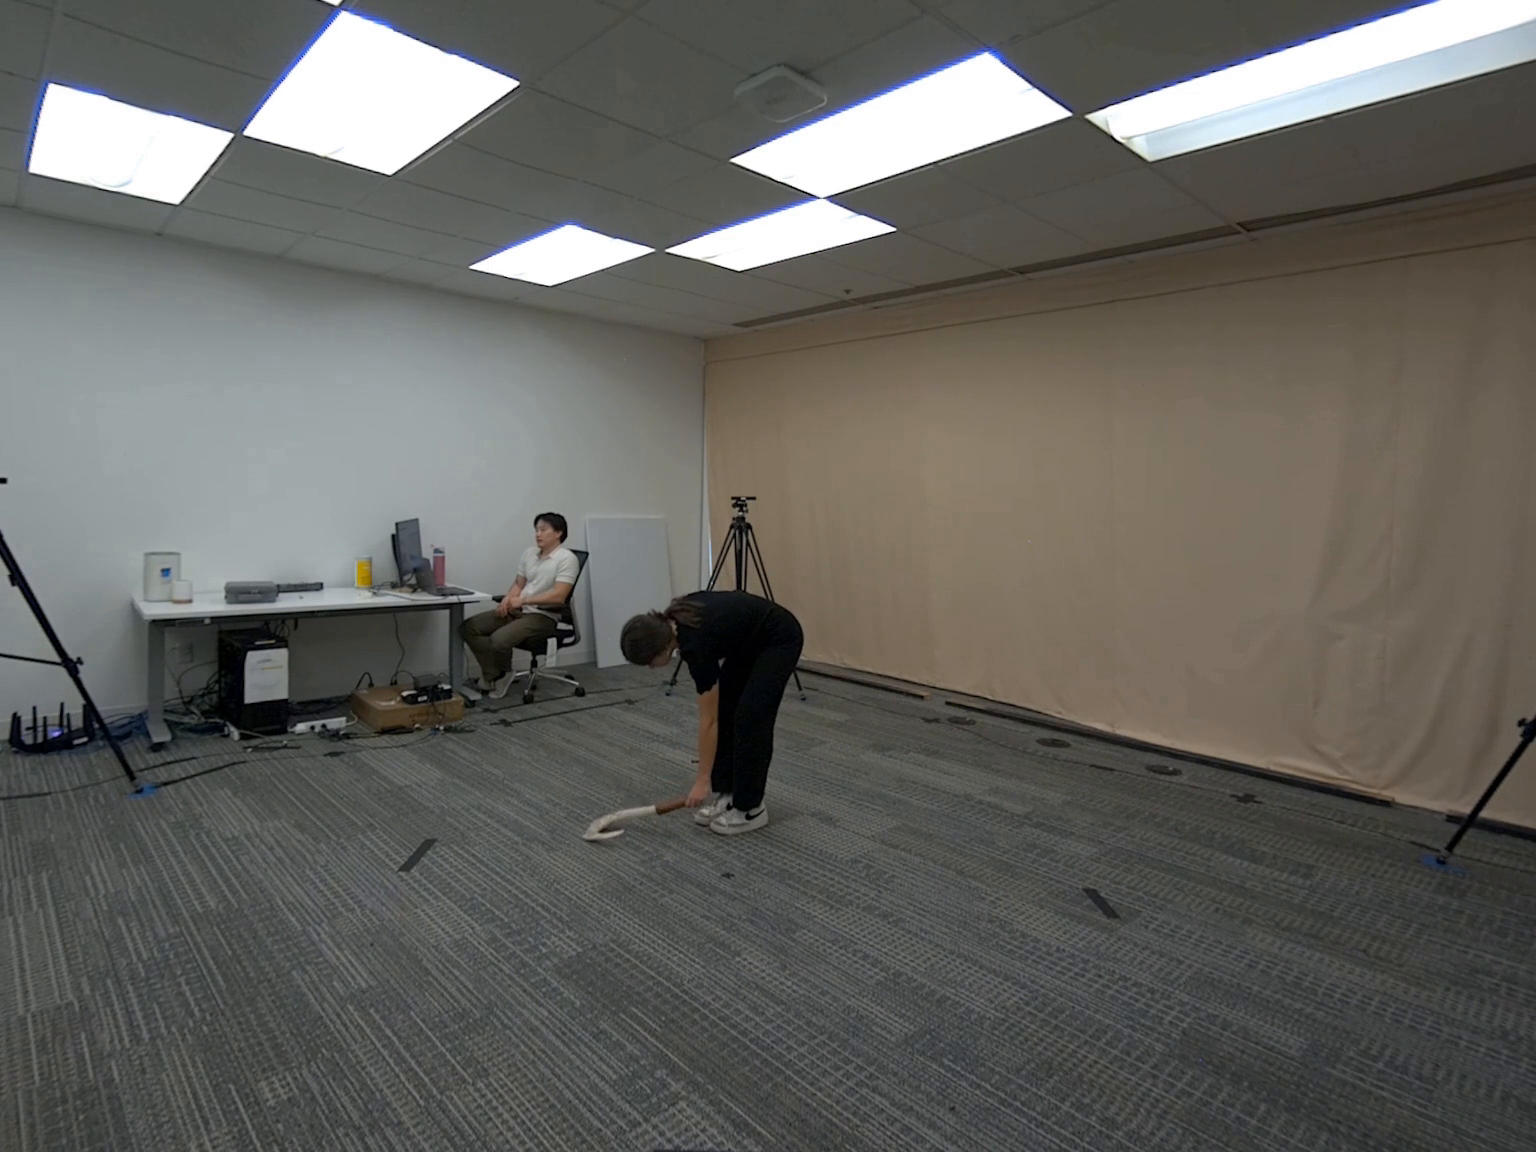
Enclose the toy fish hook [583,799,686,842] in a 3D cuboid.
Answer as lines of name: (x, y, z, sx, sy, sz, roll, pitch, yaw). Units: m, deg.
toy fish hook: (-0.514, 0.982, 3.401, 0.509, 0.048, 0.225, -17, 10, 10)
